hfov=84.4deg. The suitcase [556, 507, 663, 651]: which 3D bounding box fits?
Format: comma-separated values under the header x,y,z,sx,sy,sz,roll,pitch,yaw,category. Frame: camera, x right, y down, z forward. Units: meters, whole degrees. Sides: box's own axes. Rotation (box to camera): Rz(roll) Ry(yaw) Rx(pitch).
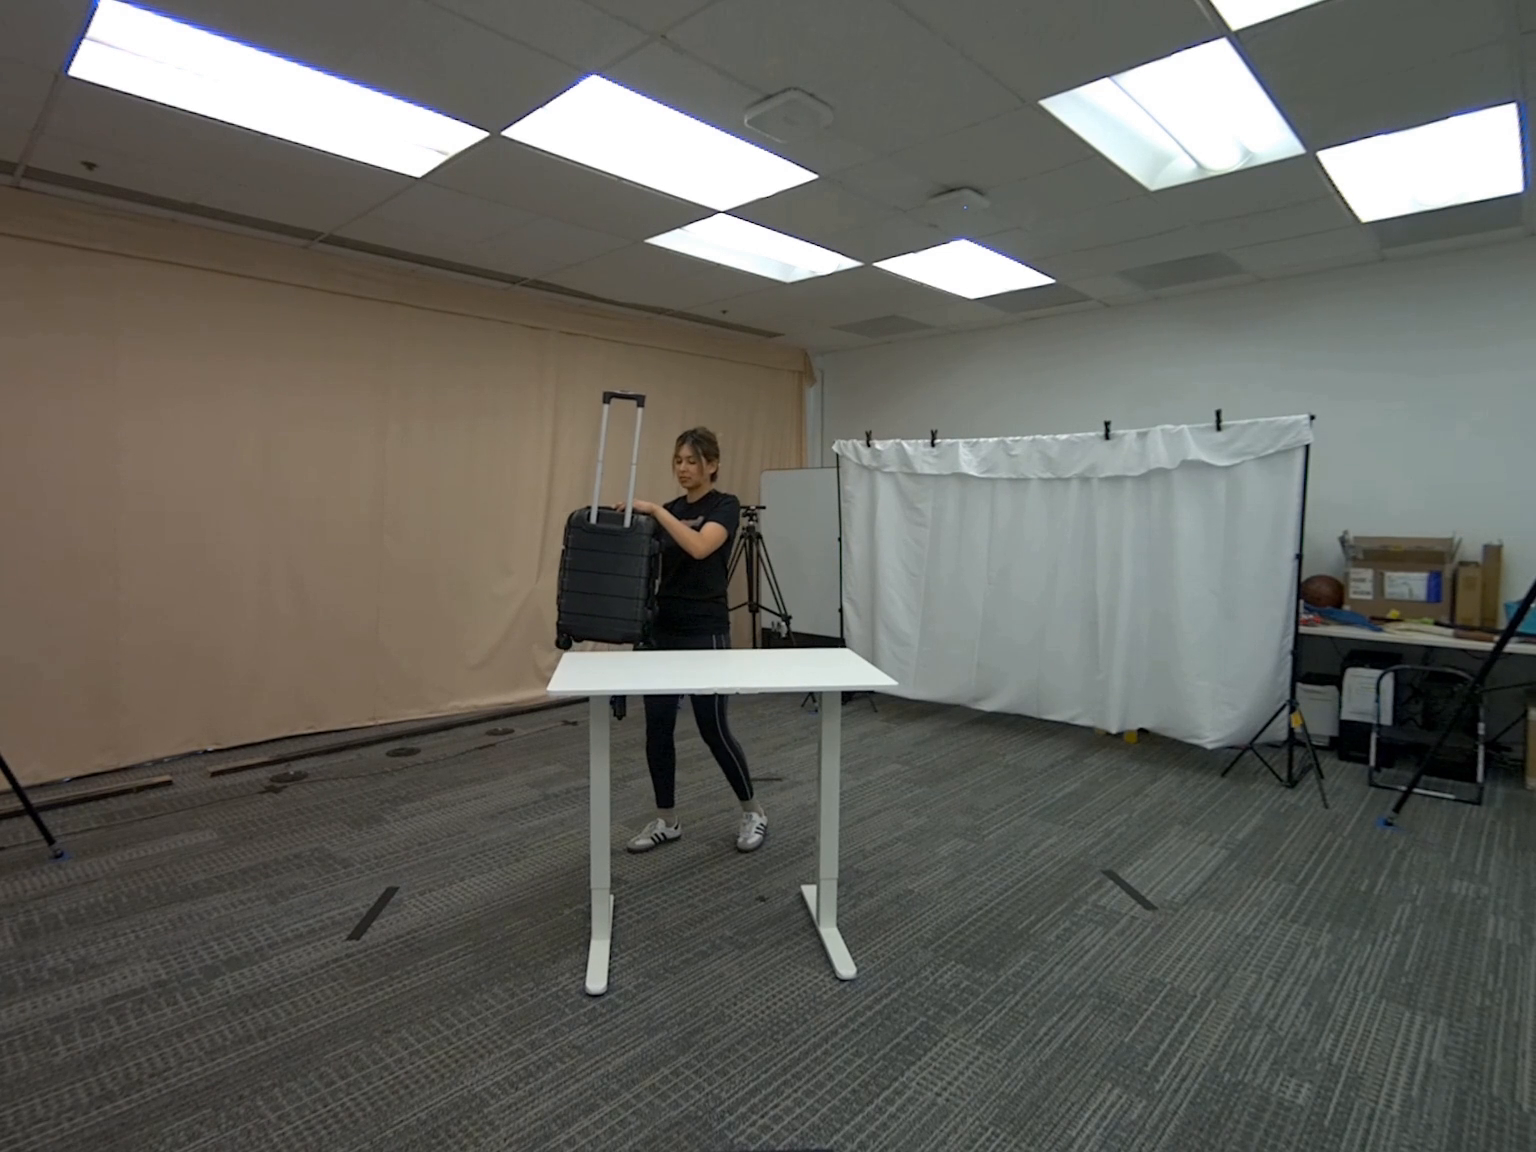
x,y,z,sx,sy,sz,roll,pitch,yaw,category
-0.584,-0.199,3.241,0.387,0.979,0.254,6,-1,7,suitcase
